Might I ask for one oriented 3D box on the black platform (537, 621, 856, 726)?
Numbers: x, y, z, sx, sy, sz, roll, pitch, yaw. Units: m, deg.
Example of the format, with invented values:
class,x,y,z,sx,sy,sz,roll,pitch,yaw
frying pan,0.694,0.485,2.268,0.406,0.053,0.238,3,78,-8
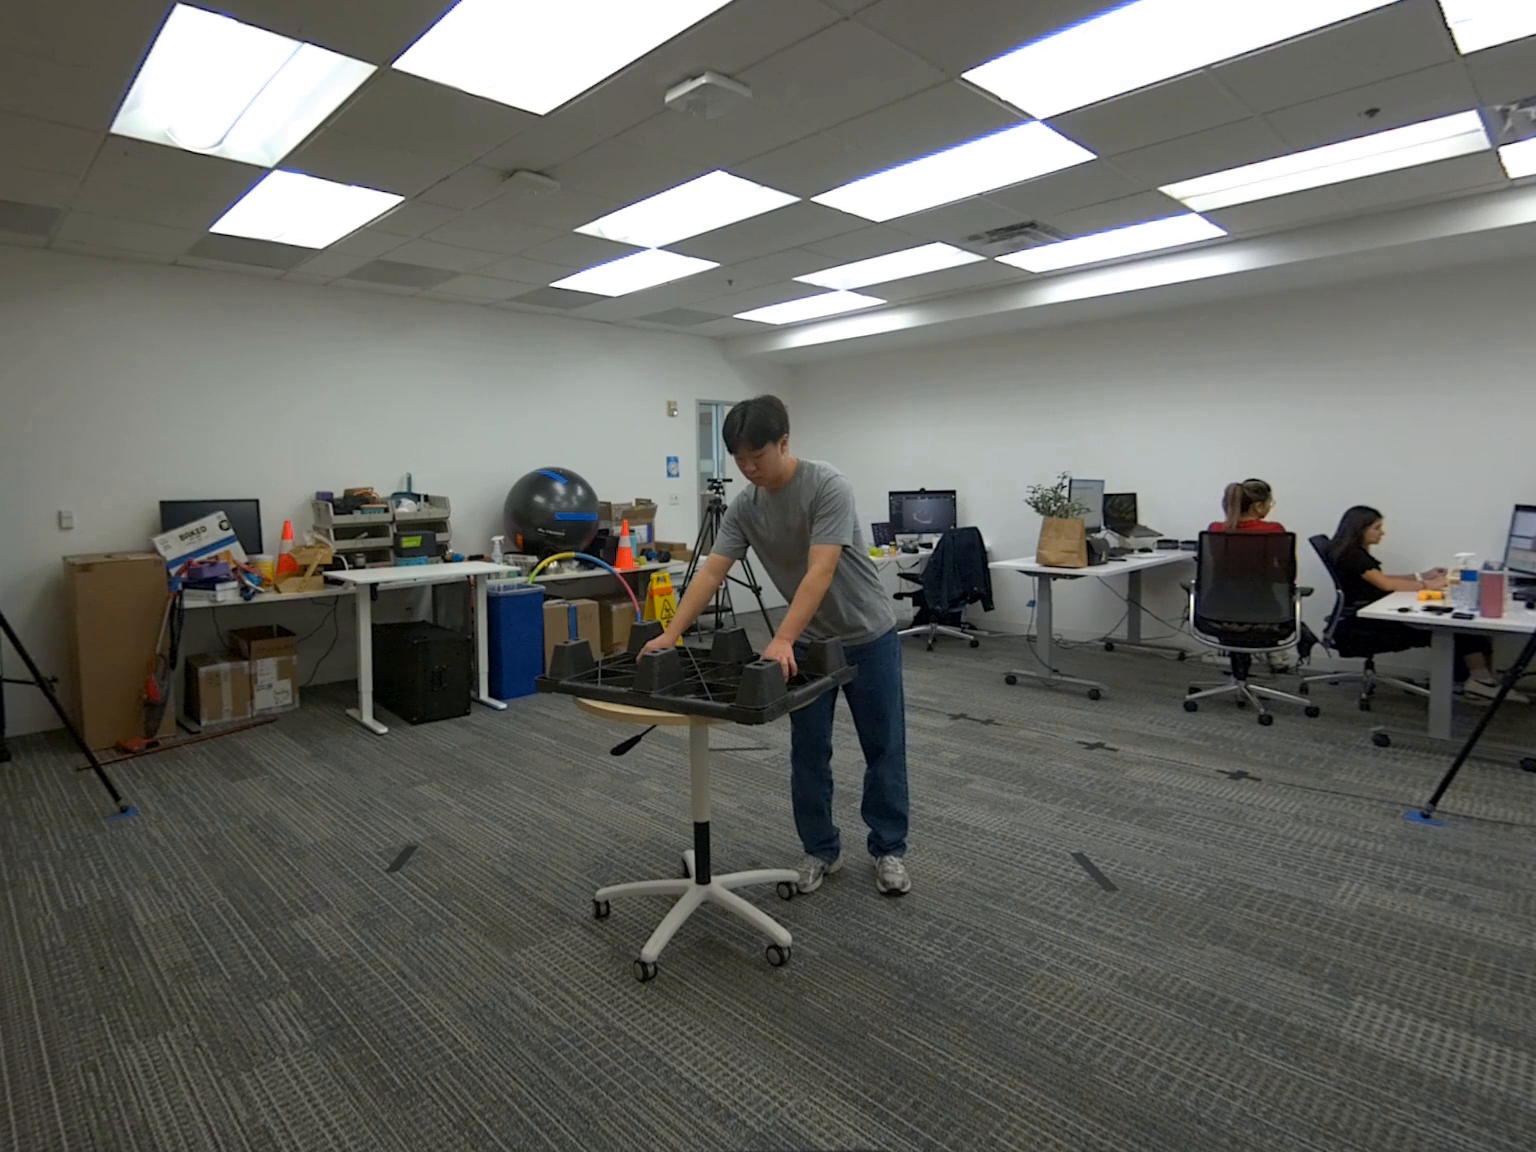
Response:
class,x,y,z,sx,sy,sz,roll,pitch,yaw
black platform,-0.205,0.264,2.589,0.828,0.142,0.592,3,9,32
